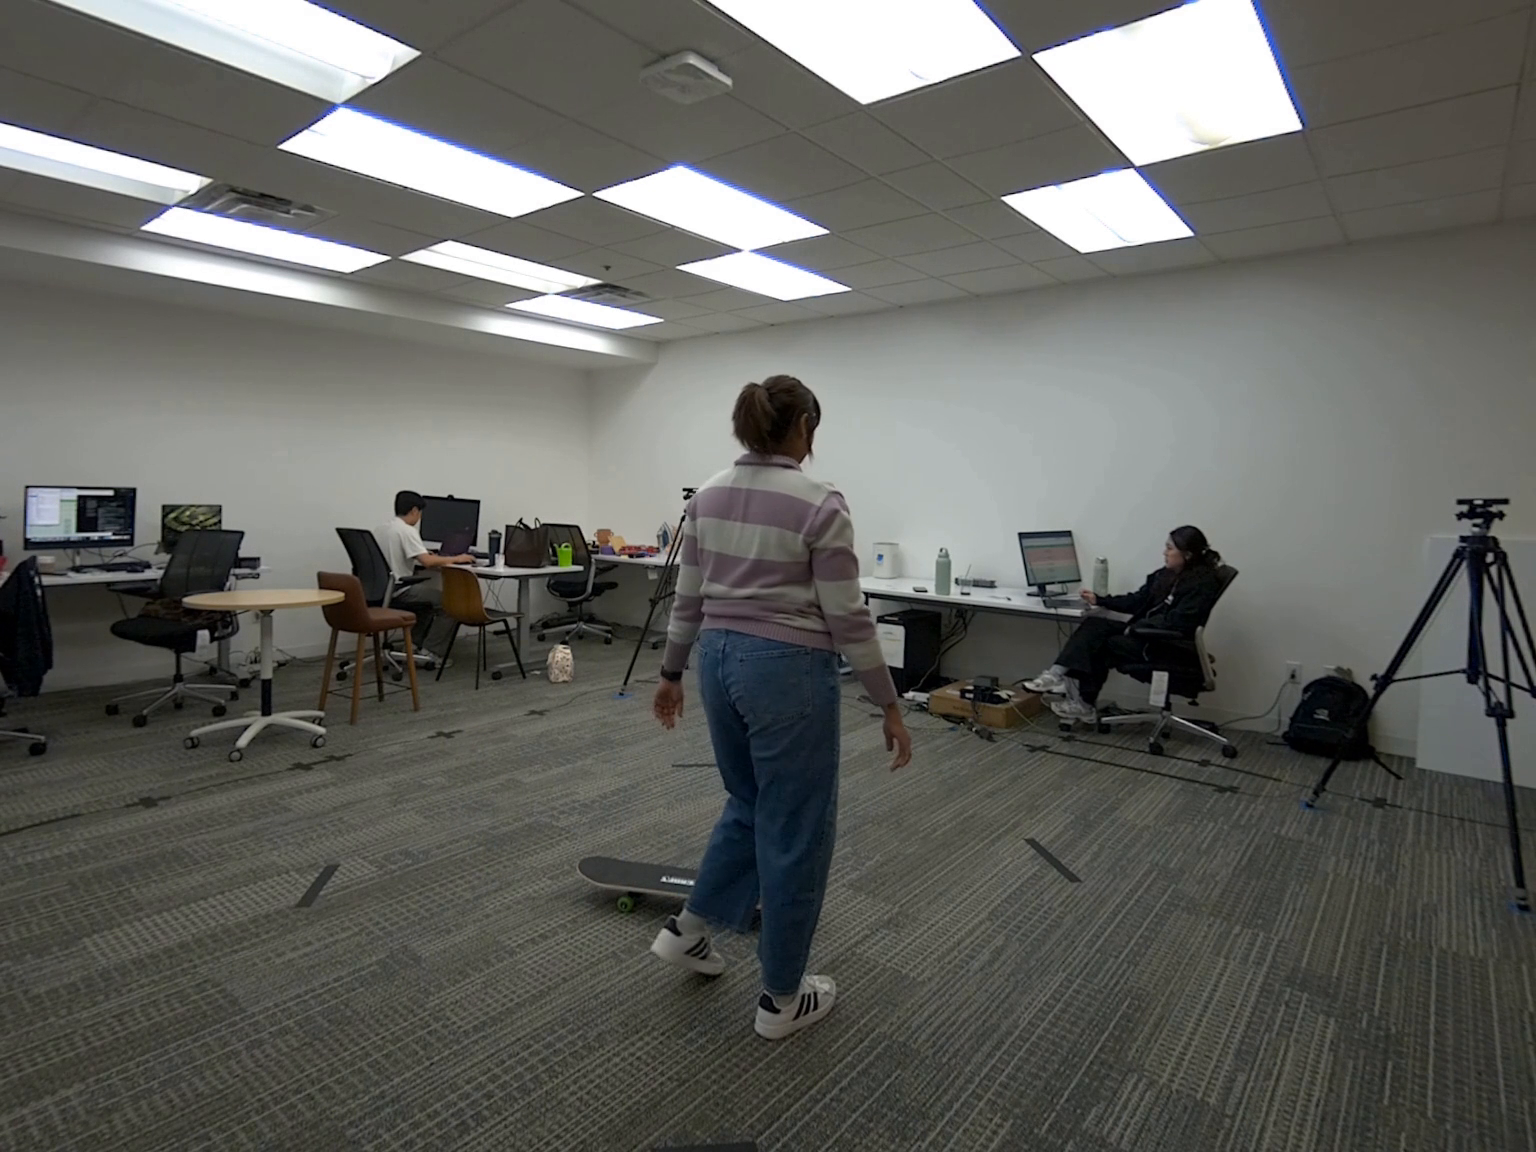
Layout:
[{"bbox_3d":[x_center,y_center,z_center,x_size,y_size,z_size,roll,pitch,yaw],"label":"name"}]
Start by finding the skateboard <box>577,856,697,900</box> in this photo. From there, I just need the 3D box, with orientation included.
[{"bbox_3d":[-0.267,1.037,2.810,0.796,0.110,0.191,2,4,12],"label":"skateboard"}]
